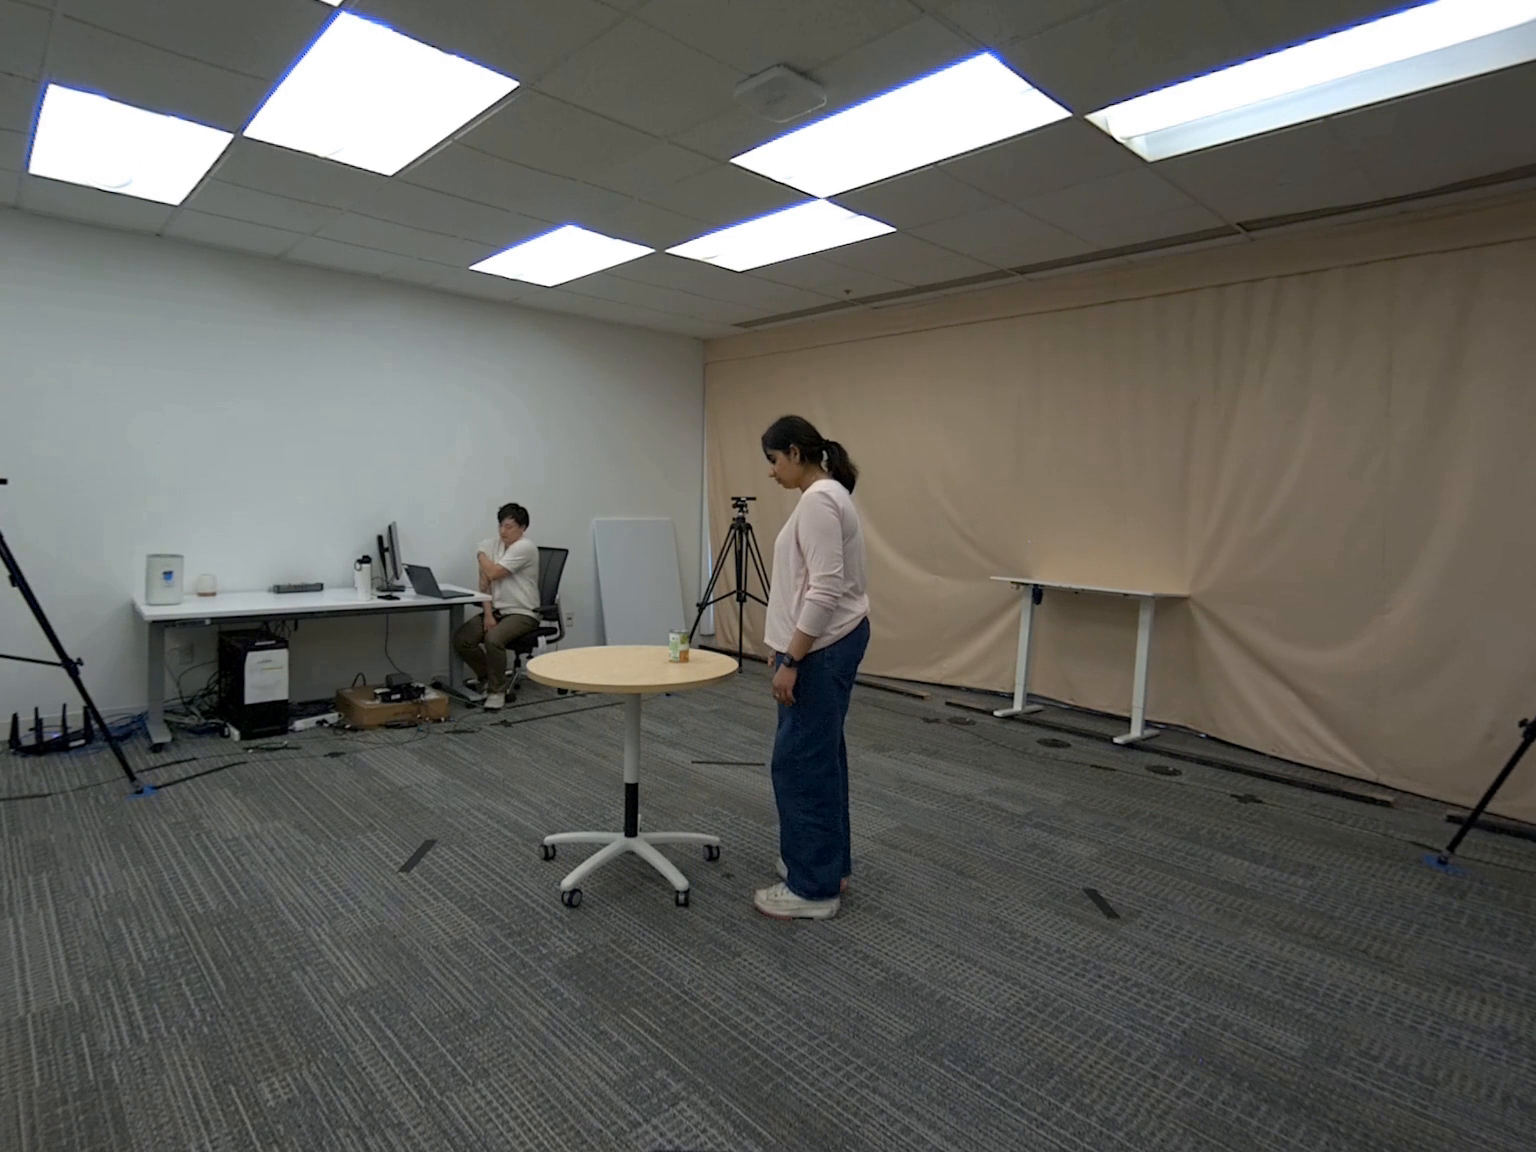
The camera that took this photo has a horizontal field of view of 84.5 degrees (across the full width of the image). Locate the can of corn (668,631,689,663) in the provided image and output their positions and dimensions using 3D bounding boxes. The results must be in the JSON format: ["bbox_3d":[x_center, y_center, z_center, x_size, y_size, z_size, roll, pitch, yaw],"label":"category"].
[{"bbox_3d":[-0.329,0.260,3.125,0.074,0.111,0.074,2,5,-2],"label":"can of corn"}]
